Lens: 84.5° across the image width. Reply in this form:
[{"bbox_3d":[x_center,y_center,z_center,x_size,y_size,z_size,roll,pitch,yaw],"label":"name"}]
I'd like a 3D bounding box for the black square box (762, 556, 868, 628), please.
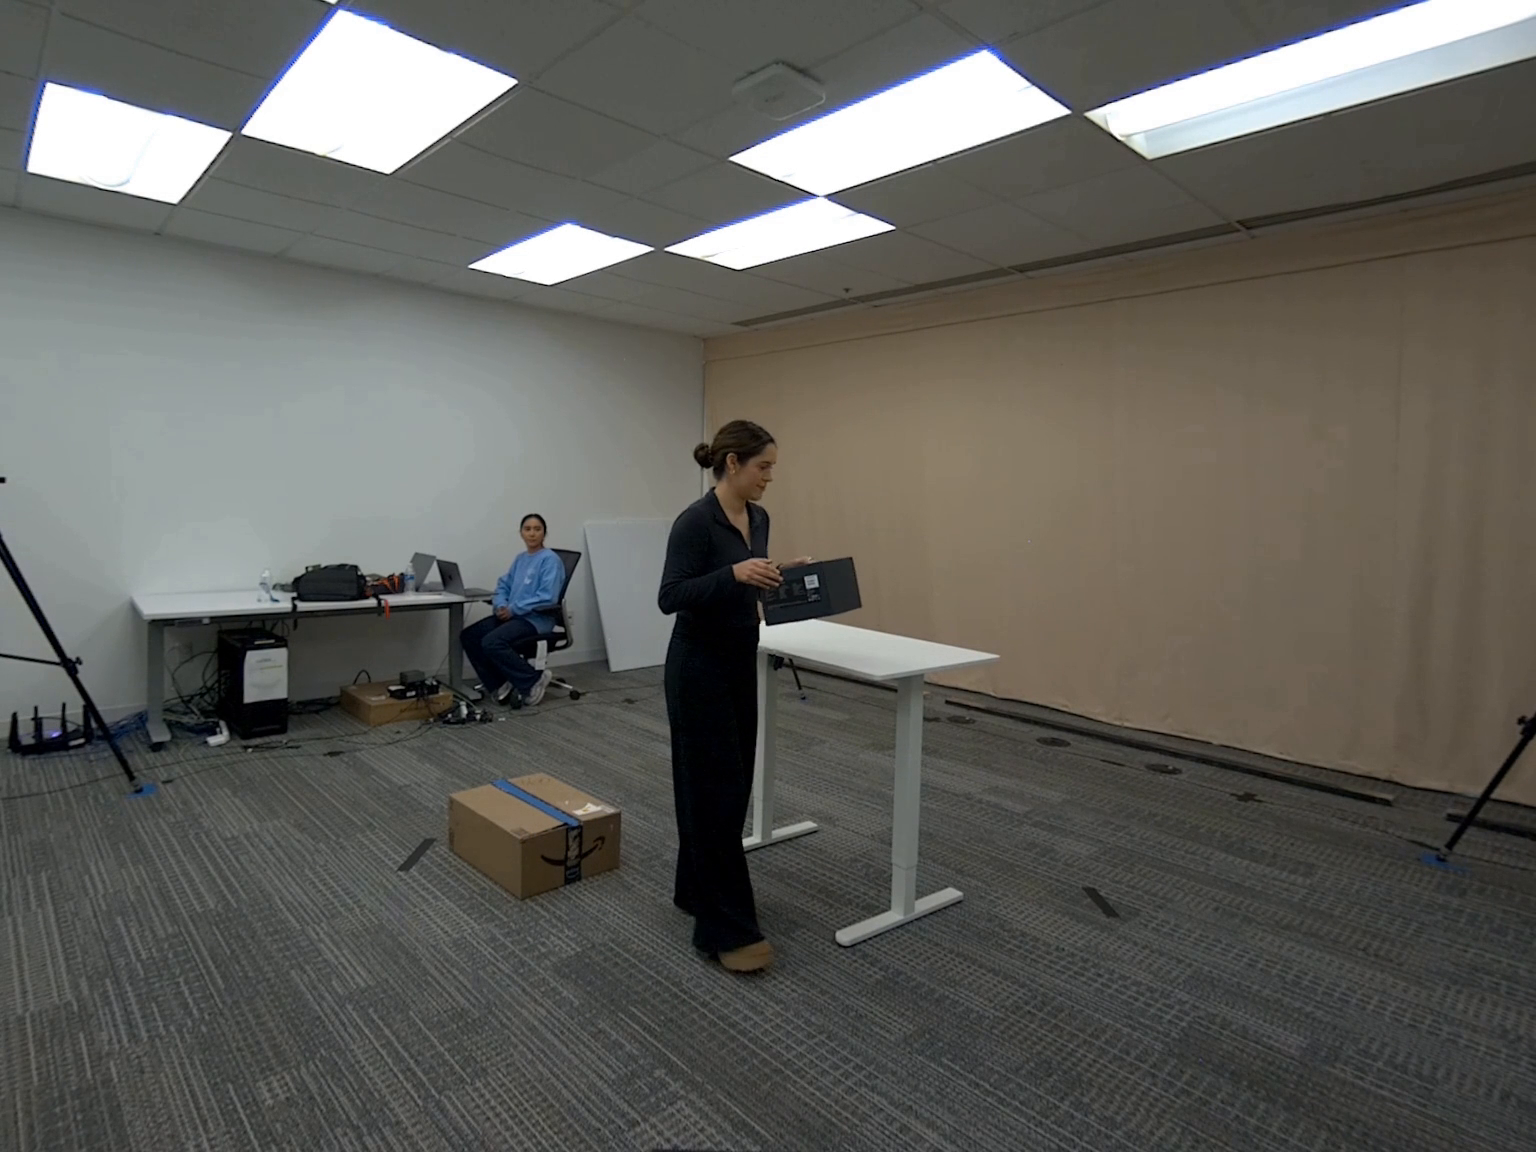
[{"bbox_3d":[0.133,0.044,2.466,0.220,0.156,0.224,-12,-3,26],"label":"black square box"}]
